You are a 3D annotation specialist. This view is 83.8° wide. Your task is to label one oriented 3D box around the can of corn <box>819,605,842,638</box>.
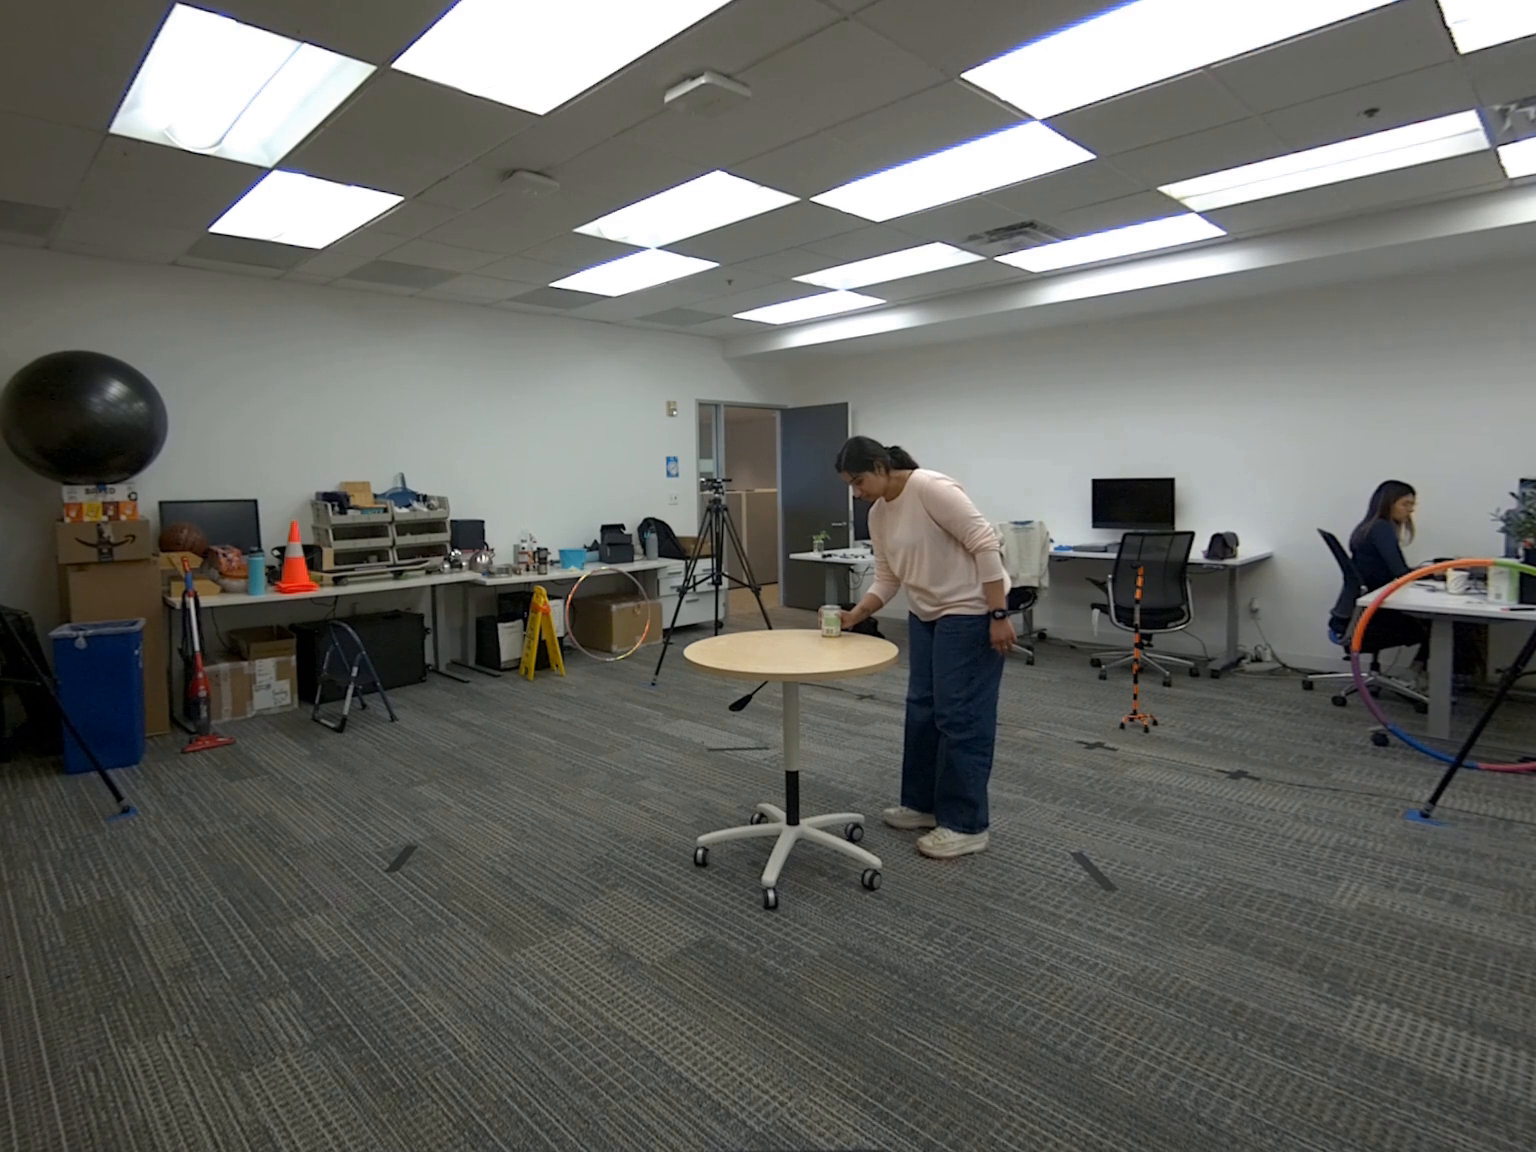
[{"bbox_3d":[0.250,0.176,3.277,0.074,0.110,0.075,-1,8,-2],"label":"can of corn"}]
